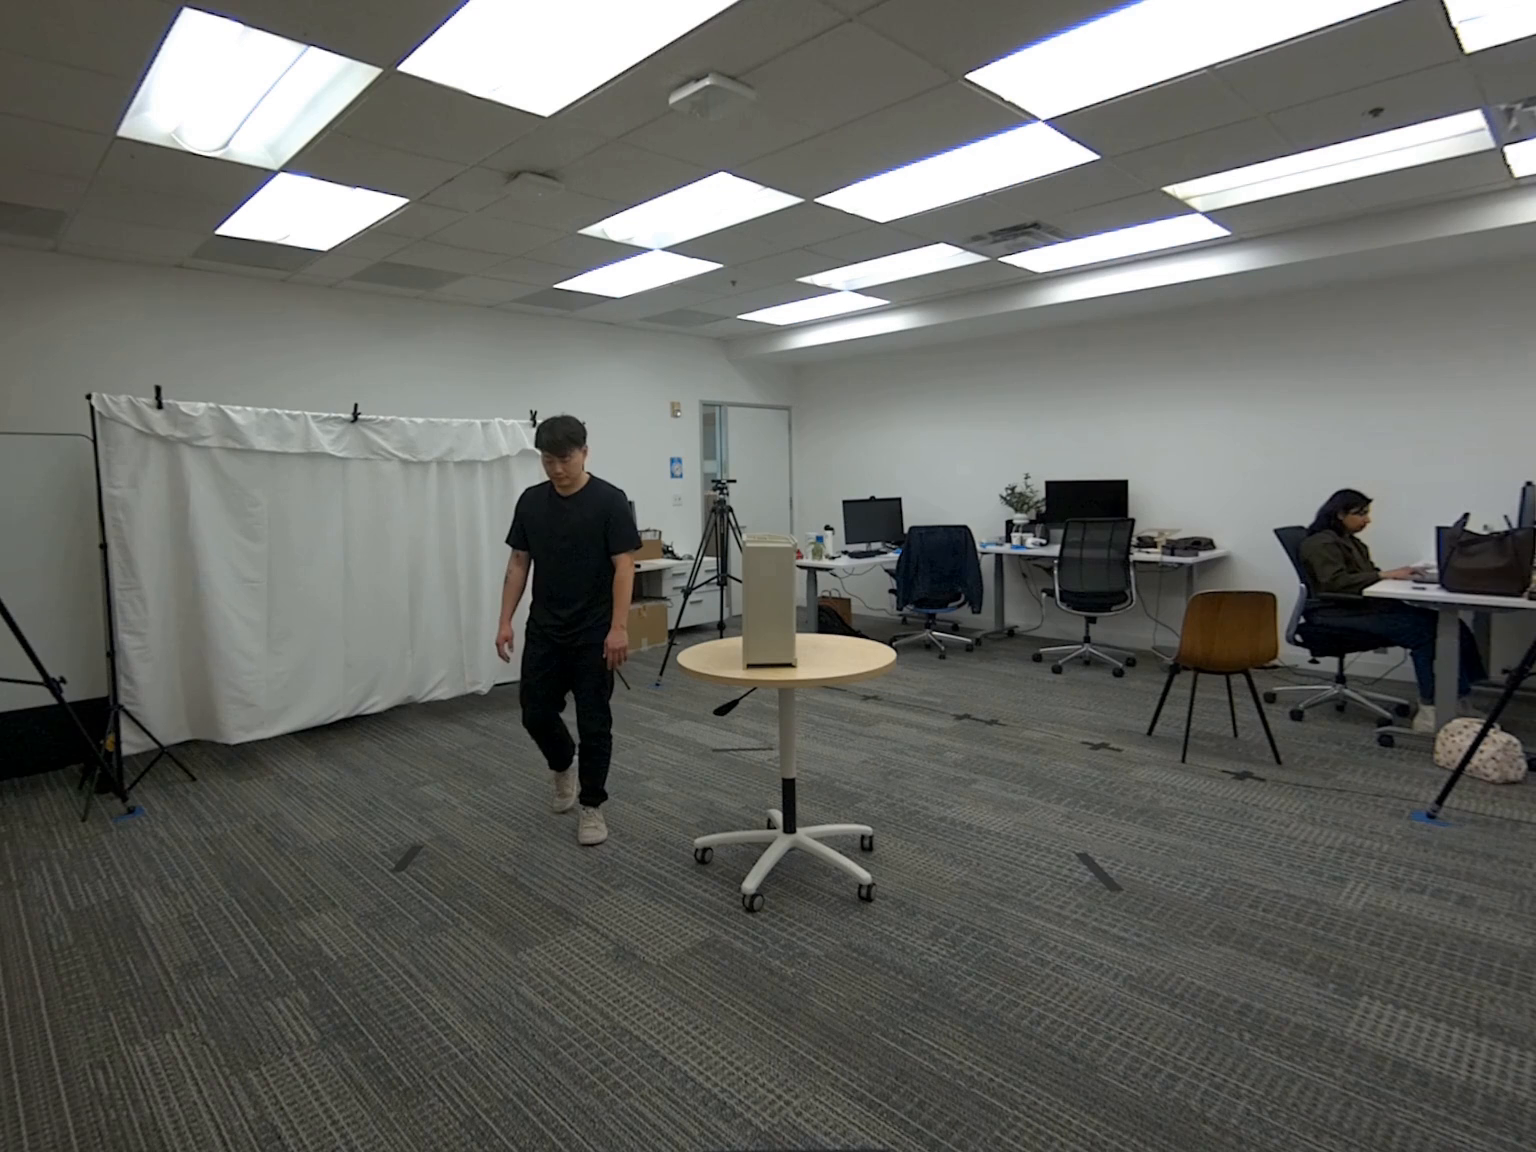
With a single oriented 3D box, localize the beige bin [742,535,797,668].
[{"bbox_3d":[-0.003,0.072,2.947,0.189,0.420,0.378,0,5,1],"label":"beige bin"}]
